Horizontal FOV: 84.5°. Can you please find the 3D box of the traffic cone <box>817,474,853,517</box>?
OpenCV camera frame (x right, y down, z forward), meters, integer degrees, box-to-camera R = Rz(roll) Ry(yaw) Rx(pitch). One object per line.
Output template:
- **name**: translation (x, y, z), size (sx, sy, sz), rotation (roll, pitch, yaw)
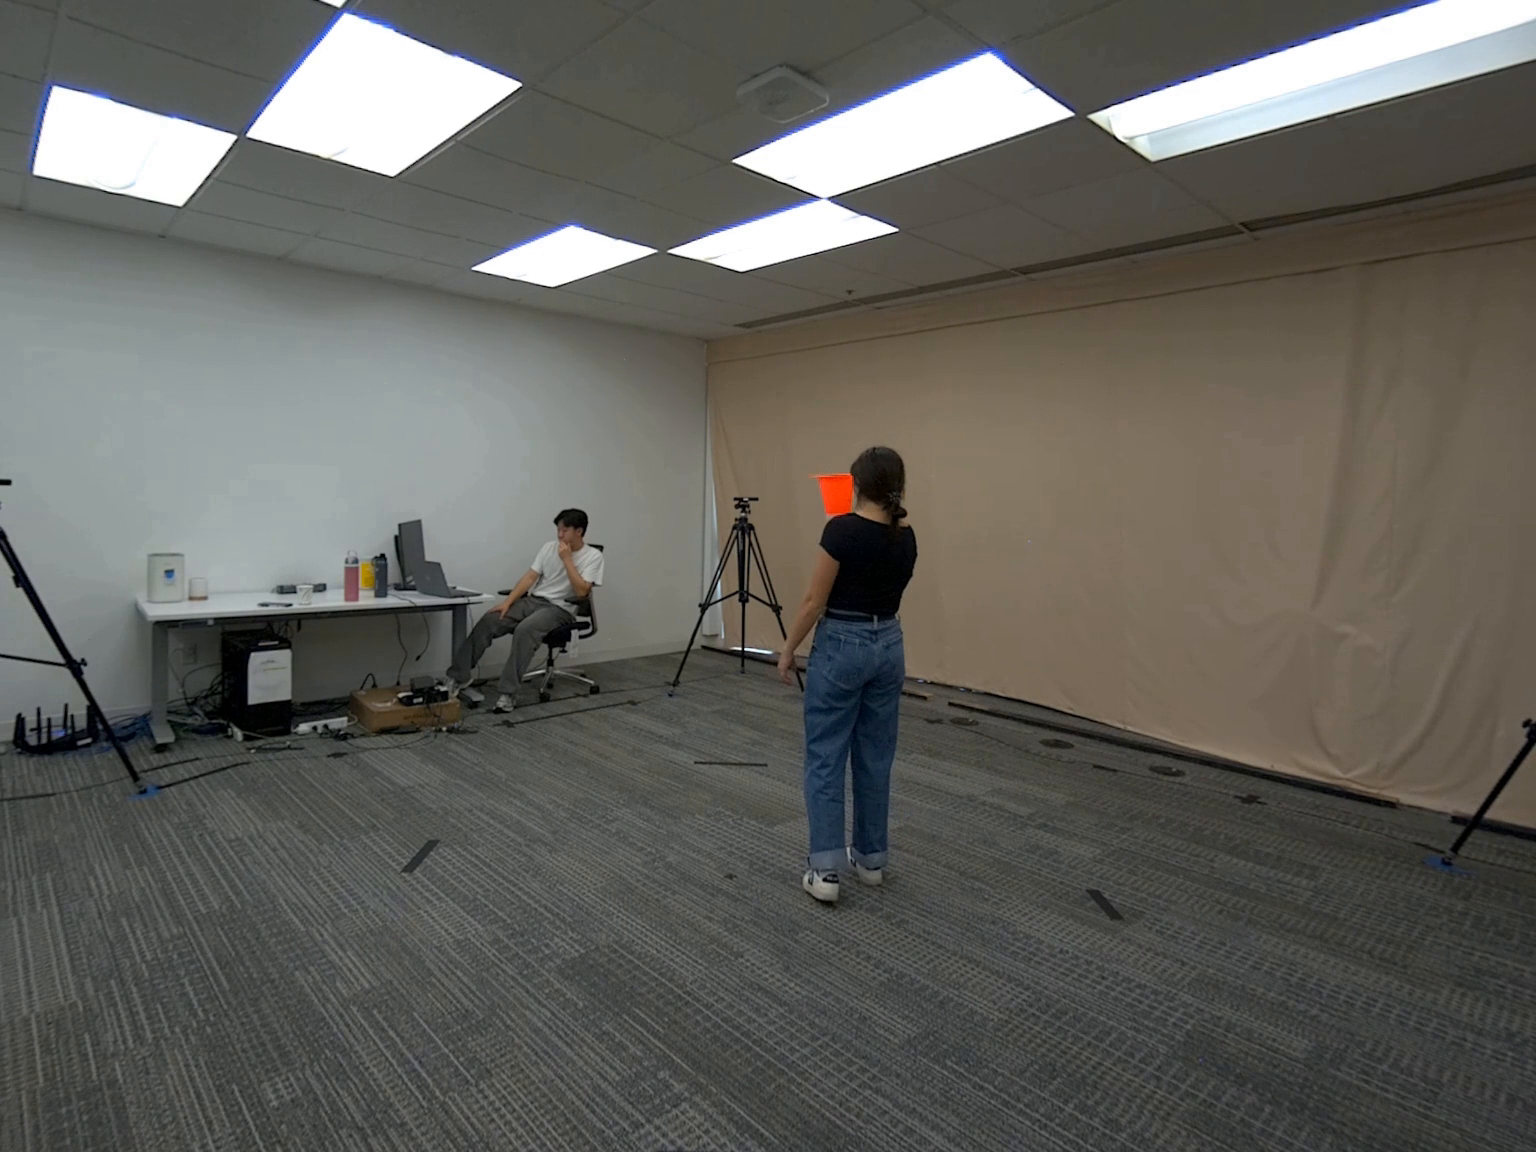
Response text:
- **traffic cone**: translation (0.287, -0.242, 3.604), size (0.209, 0.382, 0.200), rotation (2, 6, 30)
